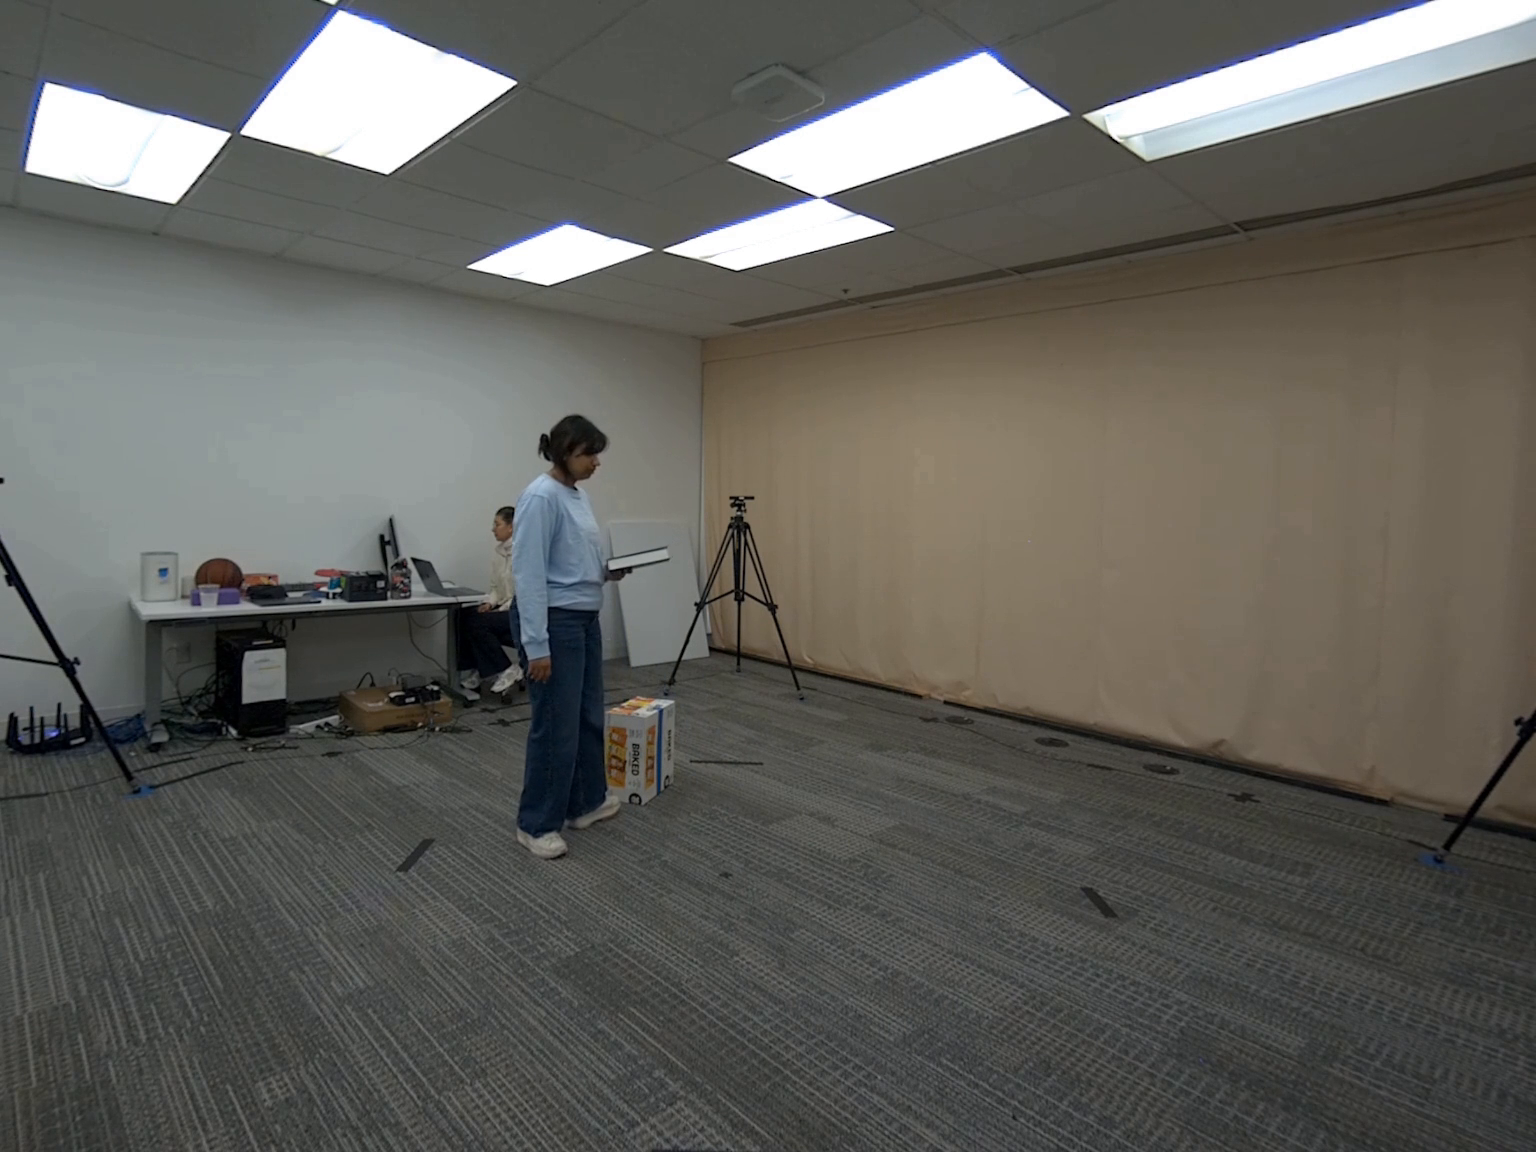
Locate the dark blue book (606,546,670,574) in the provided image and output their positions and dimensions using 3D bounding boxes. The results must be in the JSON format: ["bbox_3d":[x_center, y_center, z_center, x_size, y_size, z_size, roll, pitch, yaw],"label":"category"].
[{"bbox_3d":[-0.537,-0.065,3.361,0.243,0.045,0.164,-11,-1,-11],"label":"dark blue book"}]
